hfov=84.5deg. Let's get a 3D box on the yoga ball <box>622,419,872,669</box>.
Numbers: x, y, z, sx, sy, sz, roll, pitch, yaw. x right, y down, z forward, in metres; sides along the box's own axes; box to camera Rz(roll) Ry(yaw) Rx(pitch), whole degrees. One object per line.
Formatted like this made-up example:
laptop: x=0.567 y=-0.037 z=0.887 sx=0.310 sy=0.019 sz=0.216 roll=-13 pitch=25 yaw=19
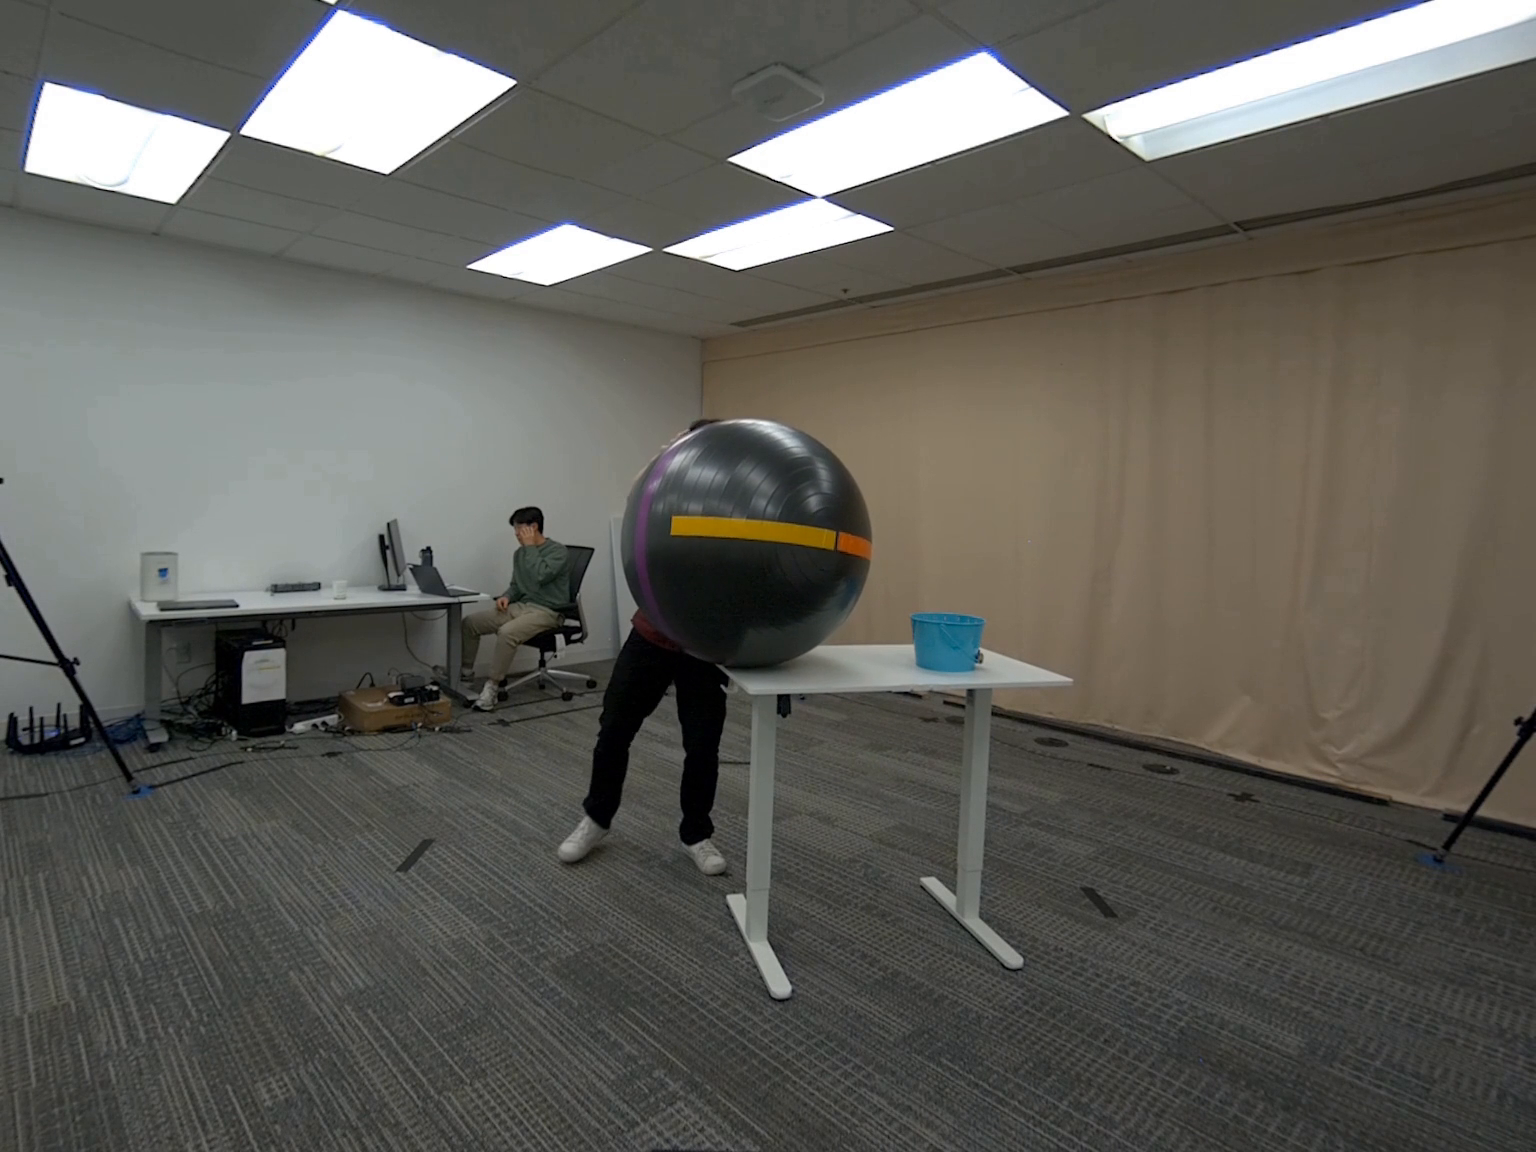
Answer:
yoga ball: x=-0.067 y=-0.092 z=2.568 sx=0.757 sy=0.756 sz=0.760 roll=1 pitch=4 yaw=-1
